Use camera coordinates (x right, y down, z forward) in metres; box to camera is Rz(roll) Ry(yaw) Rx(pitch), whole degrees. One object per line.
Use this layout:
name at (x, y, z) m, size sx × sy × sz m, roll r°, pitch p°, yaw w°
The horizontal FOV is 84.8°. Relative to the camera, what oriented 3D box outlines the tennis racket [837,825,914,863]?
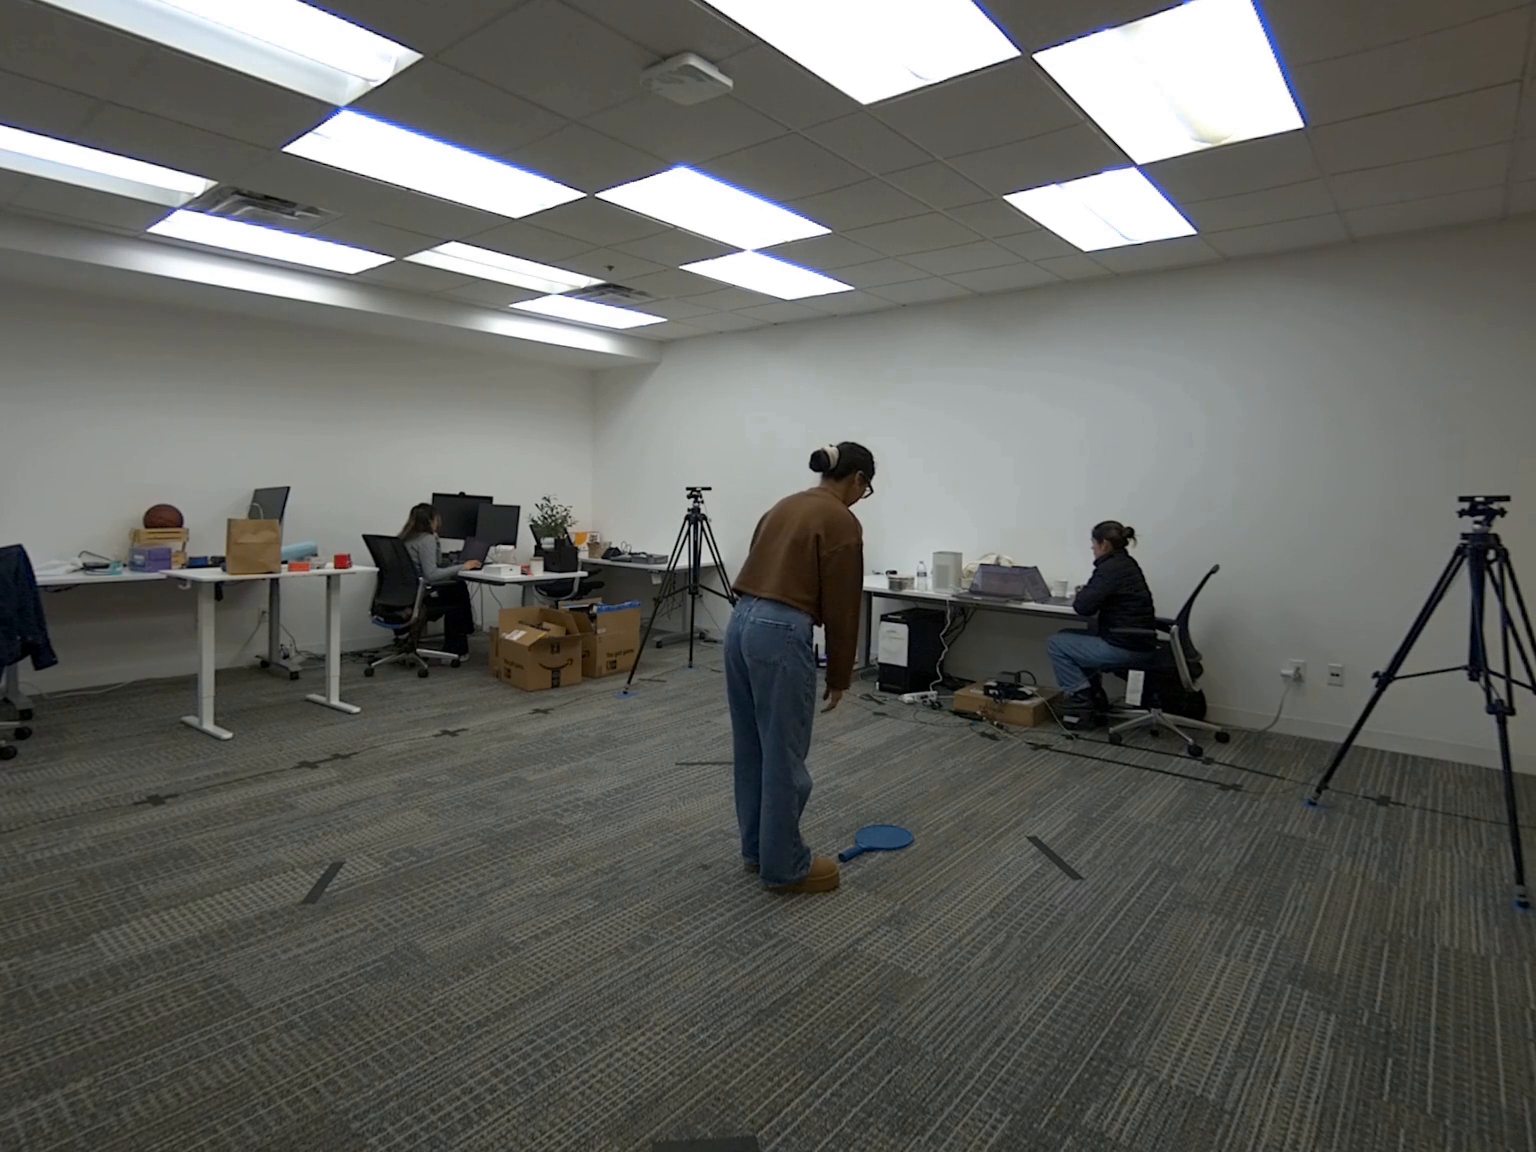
tennis racket at (0.405, 1.041, 3.347) m, size 0.221 × 0.032 × 0.420 m, roll 5°, pitch 6°, yaw 41°
